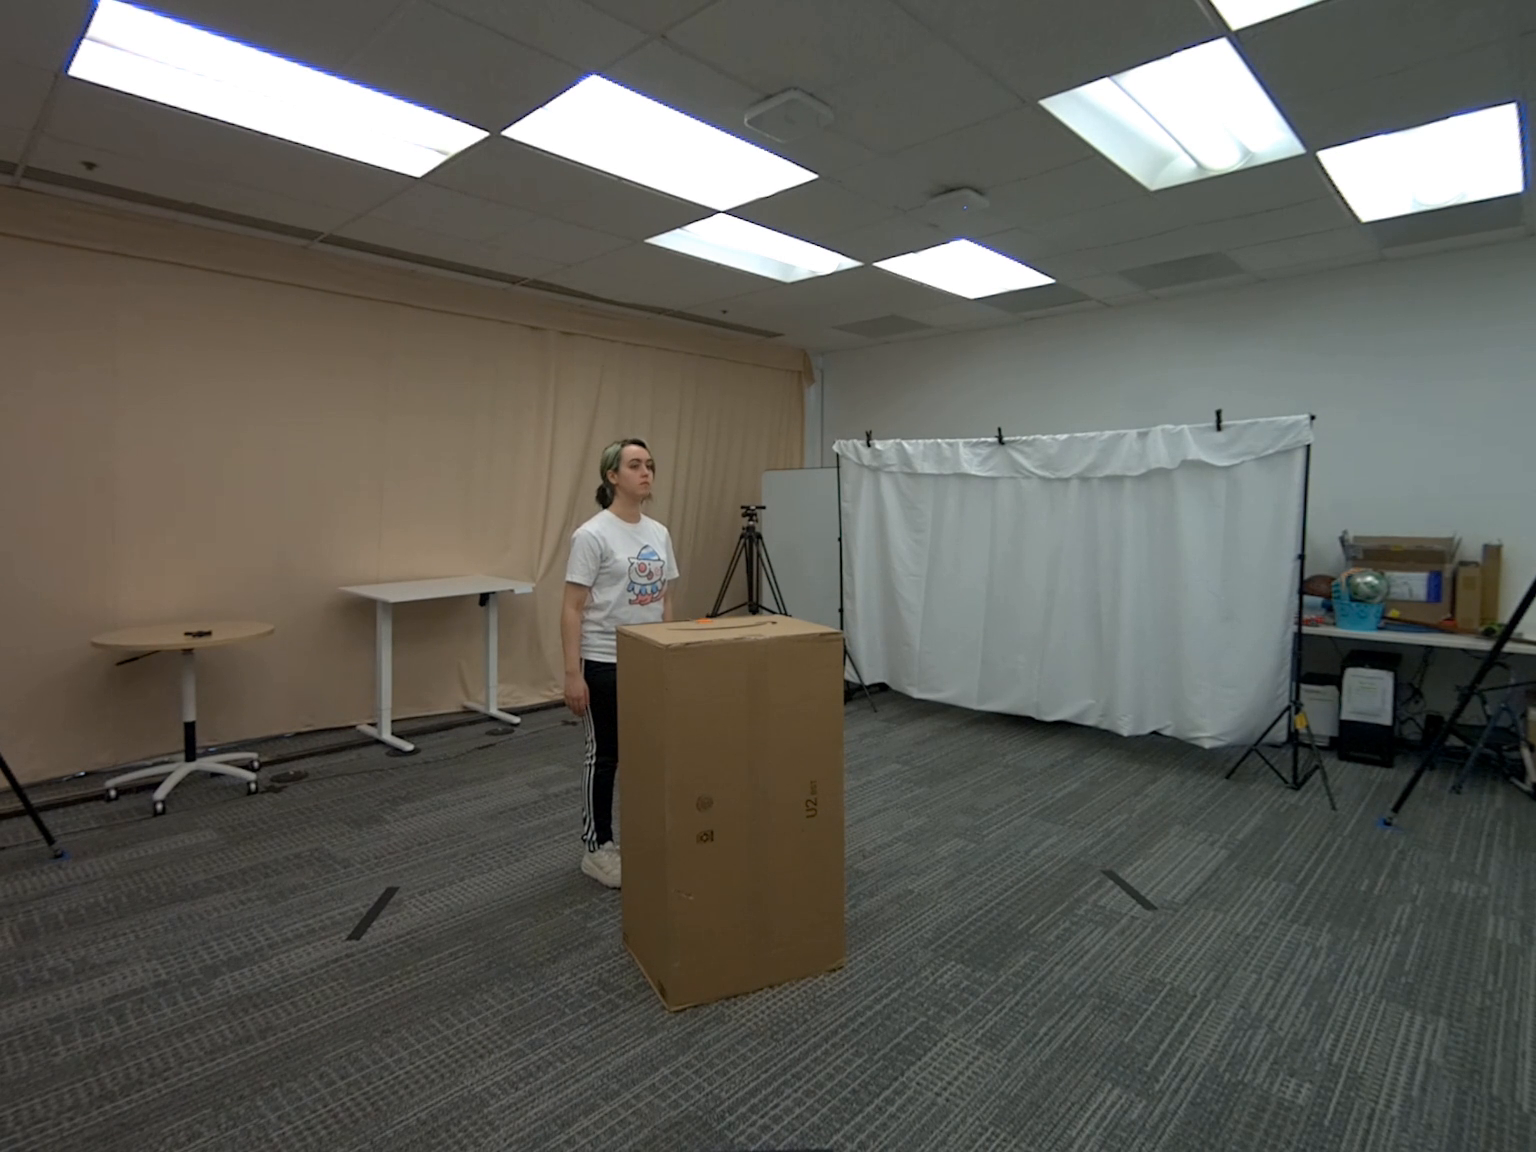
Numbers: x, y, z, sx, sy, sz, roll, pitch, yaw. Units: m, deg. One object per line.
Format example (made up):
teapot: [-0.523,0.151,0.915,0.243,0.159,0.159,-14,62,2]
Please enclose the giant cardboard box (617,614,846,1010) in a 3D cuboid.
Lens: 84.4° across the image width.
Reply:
giant cardboard box: [-0.118,0.668,2.588,0.564,1.023,0.437,-2,4,-26]
